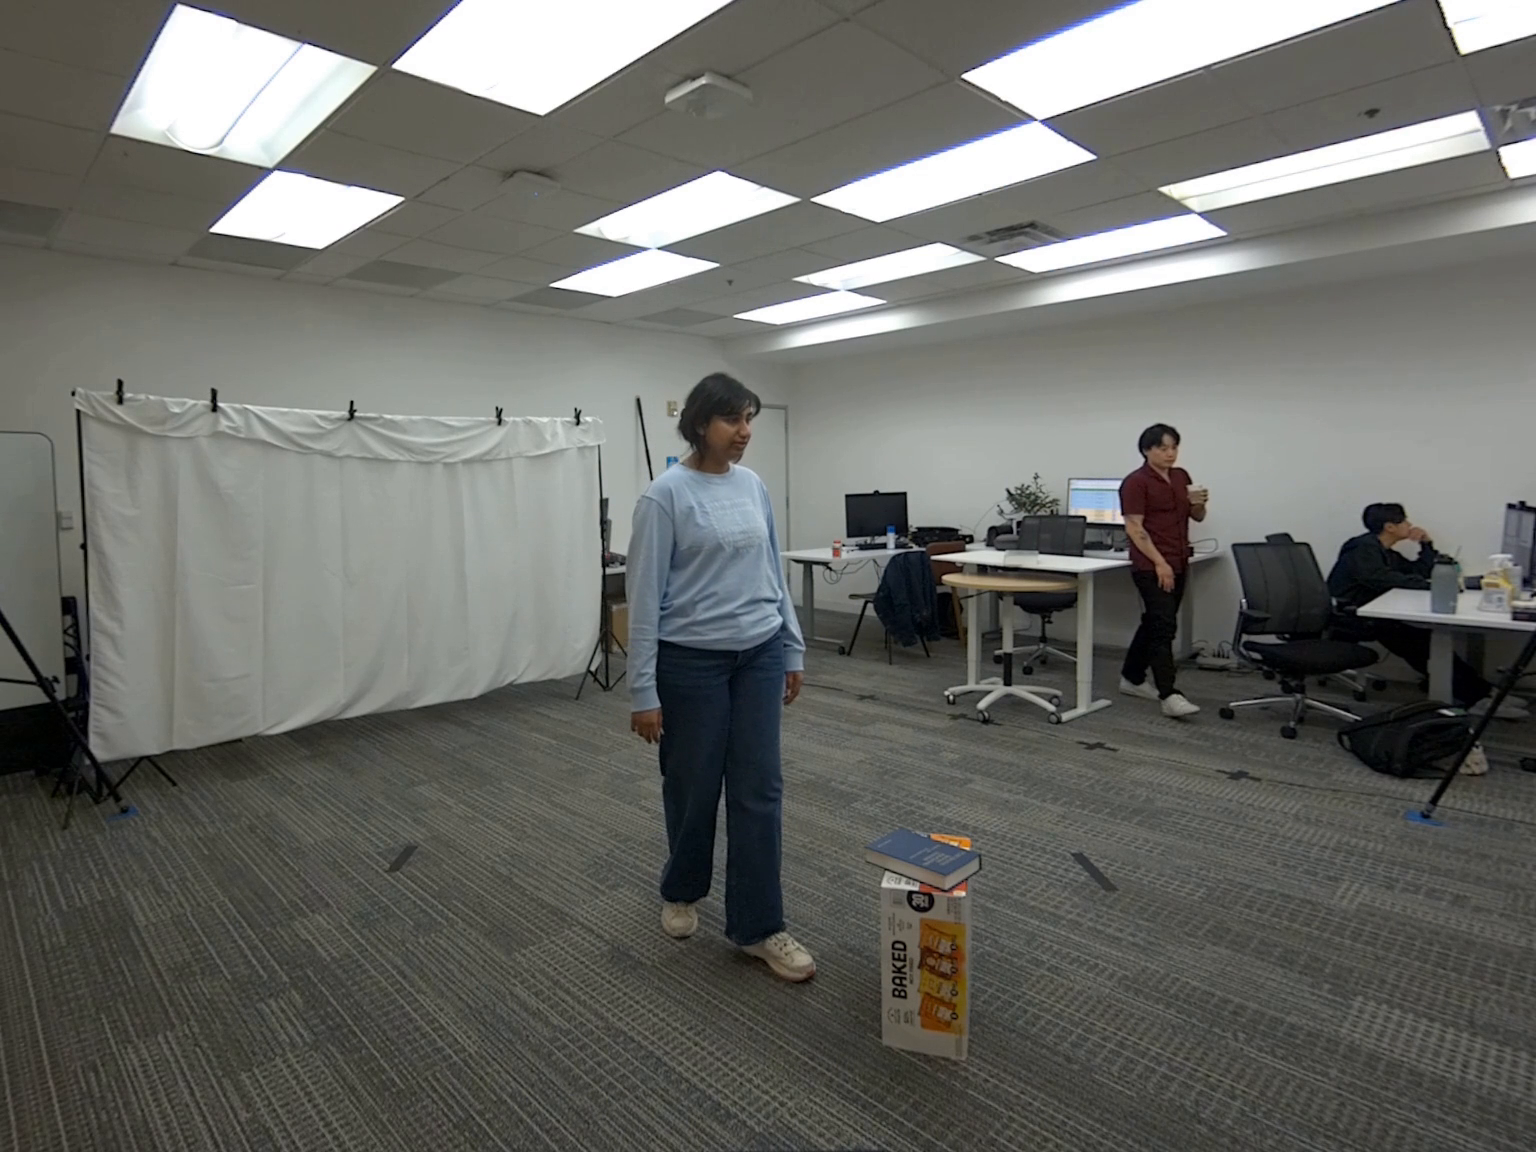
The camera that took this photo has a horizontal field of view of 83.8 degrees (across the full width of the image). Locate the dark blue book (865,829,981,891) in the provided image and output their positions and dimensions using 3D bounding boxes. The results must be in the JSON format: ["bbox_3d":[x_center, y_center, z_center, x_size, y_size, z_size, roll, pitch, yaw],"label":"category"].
[{"bbox_3d":[0.395,0.716,2.177,0.252,0.045,0.159,4,9,44],"label":"dark blue book"}]
